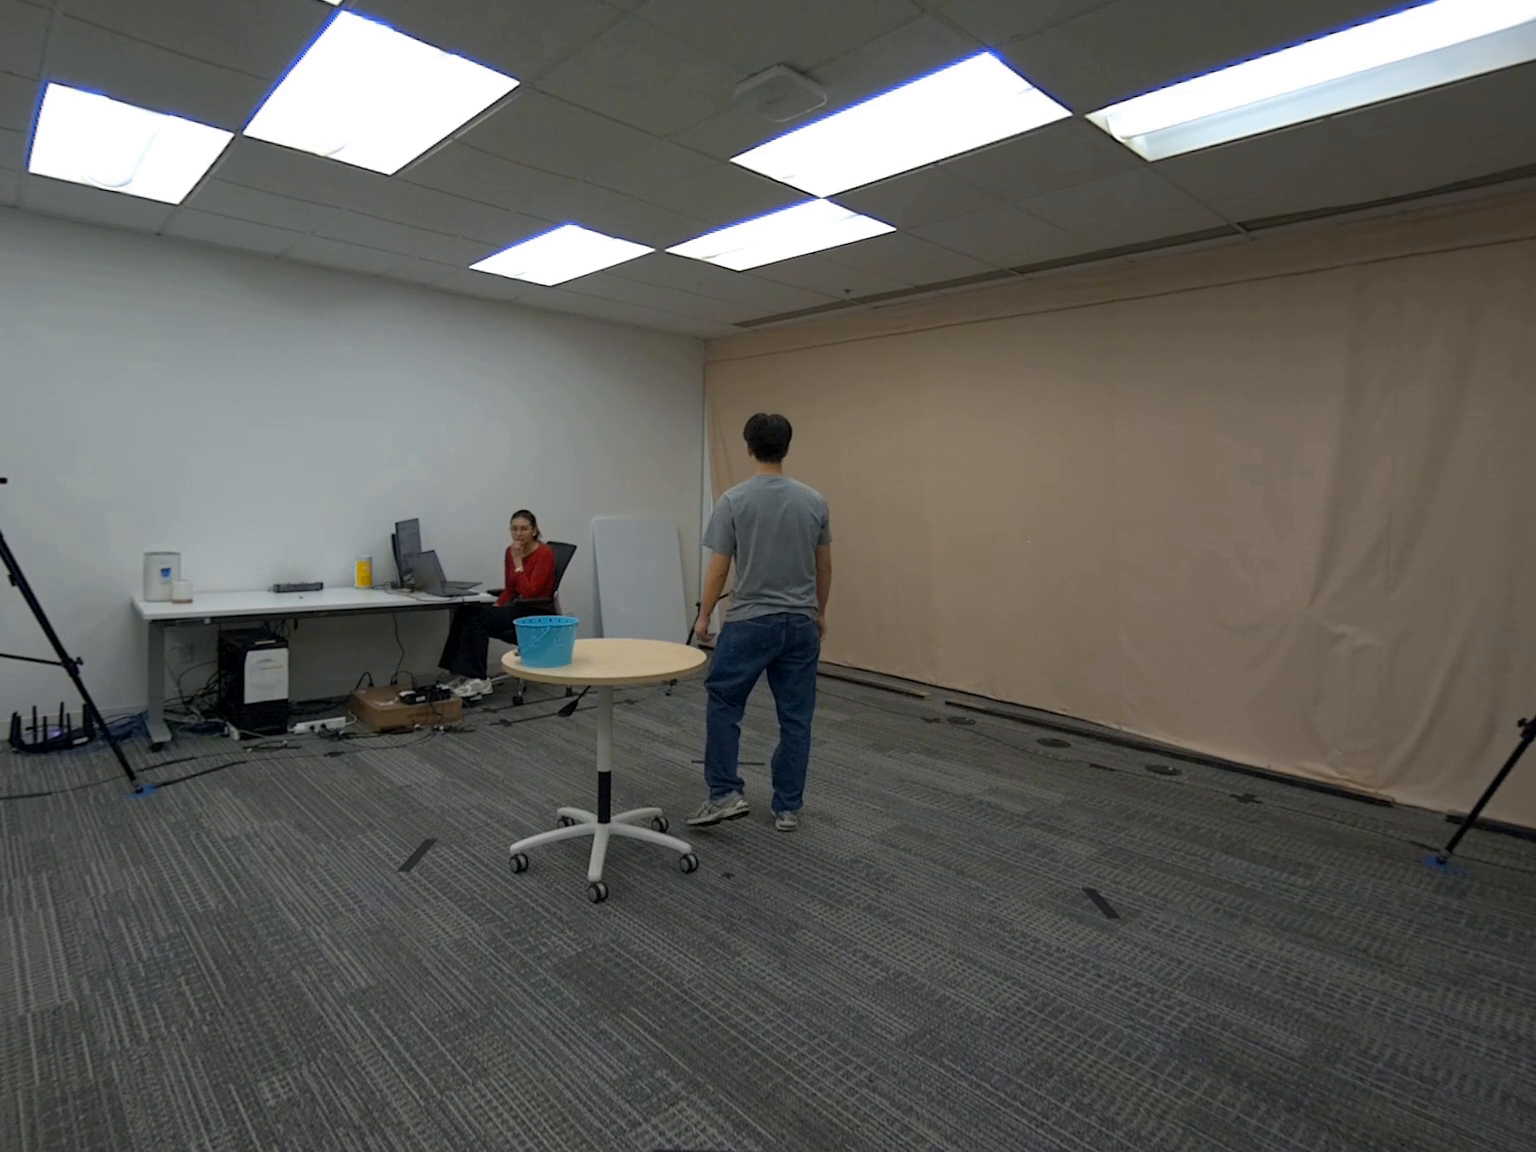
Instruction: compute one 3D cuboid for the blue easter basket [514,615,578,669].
[{"bbox_3d":[-0.823,0.242,3.047,0.243,0.155,0.244,0,6,-1],"label":"blue easter basket"}]
